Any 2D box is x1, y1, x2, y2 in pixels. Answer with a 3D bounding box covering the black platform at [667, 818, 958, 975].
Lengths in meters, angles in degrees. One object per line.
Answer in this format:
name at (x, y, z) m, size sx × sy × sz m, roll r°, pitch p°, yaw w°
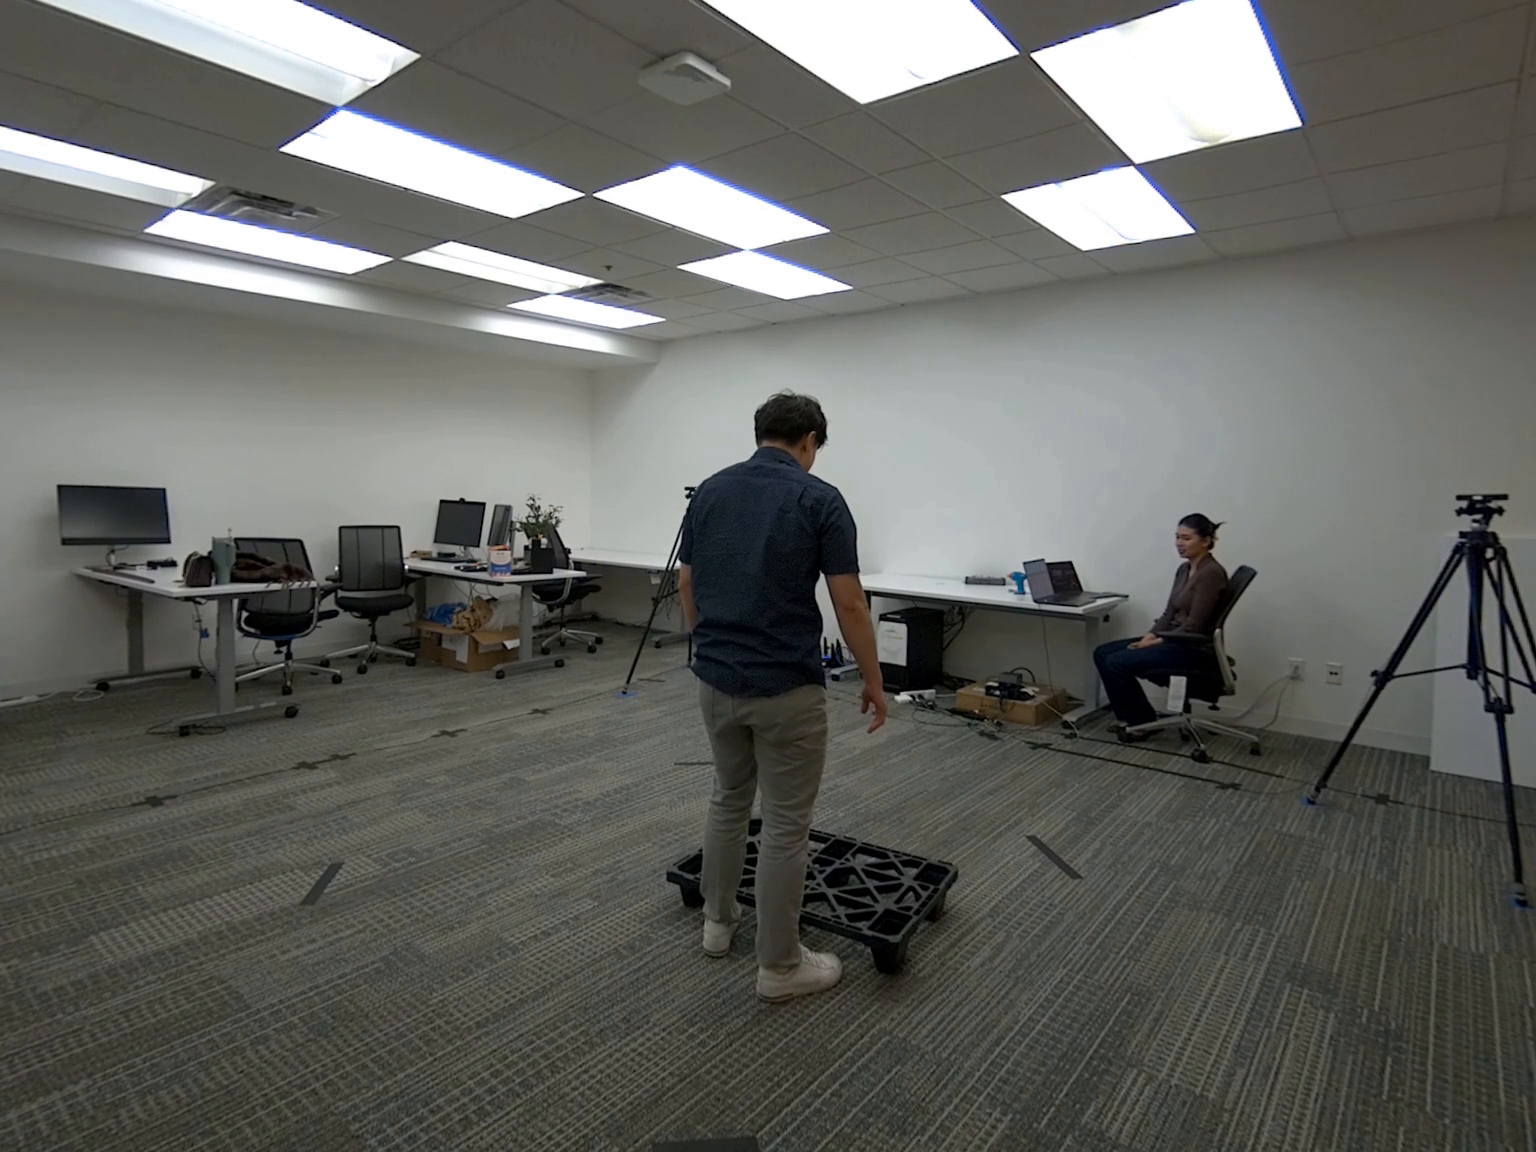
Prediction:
black platform at (0.147, 1.034, 2.823) m, size 0.830 × 0.143 × 0.590 m, roll 4°, pitch 7°, yaw 31°
